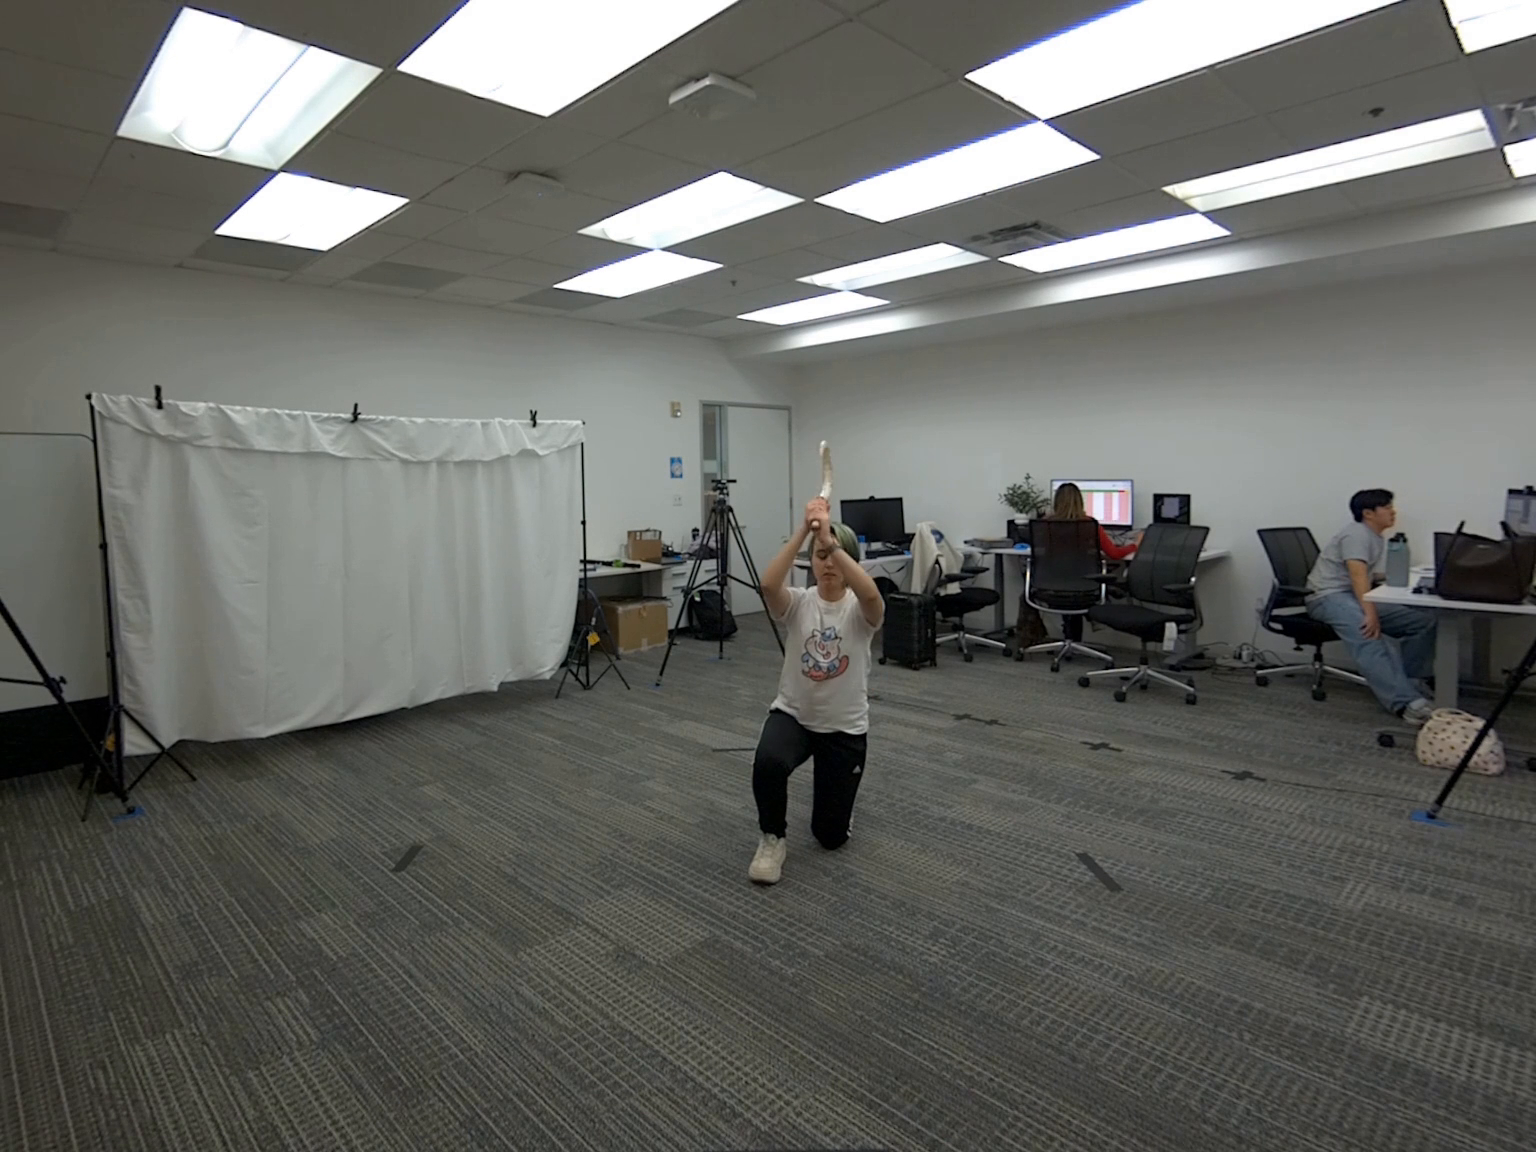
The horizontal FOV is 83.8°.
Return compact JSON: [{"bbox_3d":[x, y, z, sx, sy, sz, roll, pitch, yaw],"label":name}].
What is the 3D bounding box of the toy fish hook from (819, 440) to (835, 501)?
[{"bbox_3d":[0.189,-0.316,3.063,0.049,0.219,0.513,-4,29,13],"label":"toy fish hook"}]
